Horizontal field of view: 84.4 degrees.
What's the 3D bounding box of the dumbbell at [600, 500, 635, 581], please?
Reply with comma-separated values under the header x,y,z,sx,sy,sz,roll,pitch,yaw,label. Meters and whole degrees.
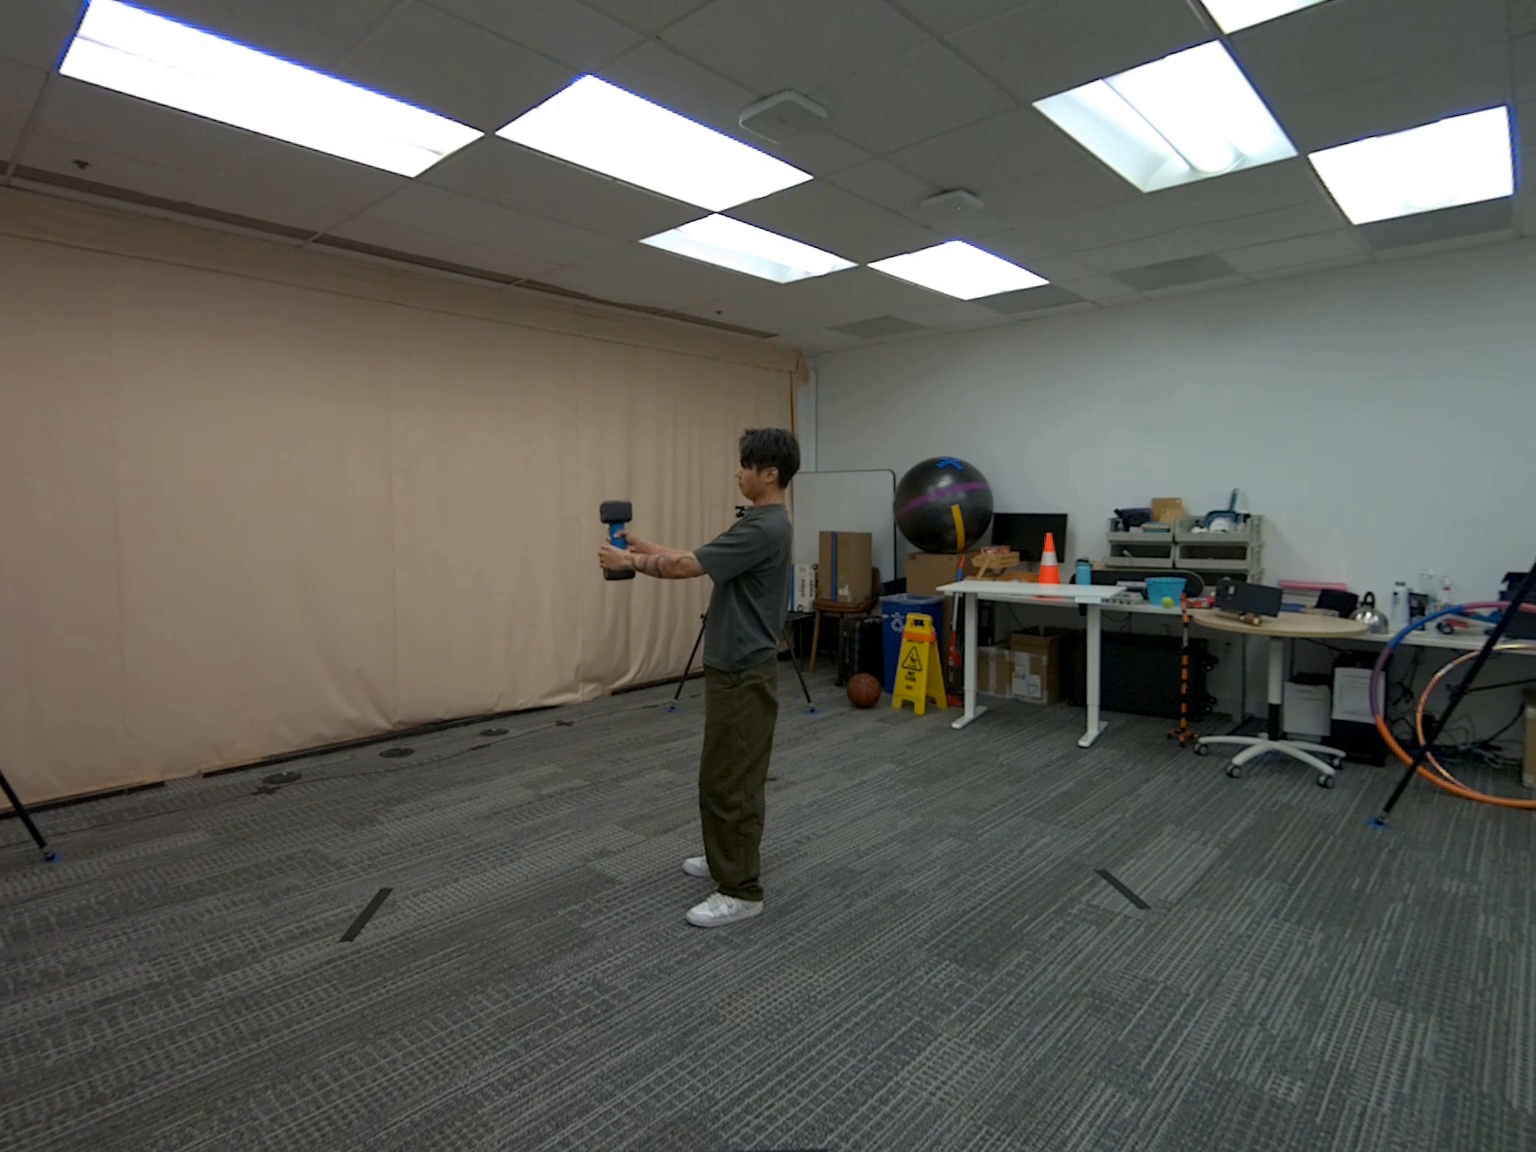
x,y,z,sx,sy,sz,roll,pitch,yaw,label
-0.552,-0.128,3.118,0.111,0.294,0.119,-4,-4,29,dumbbell
